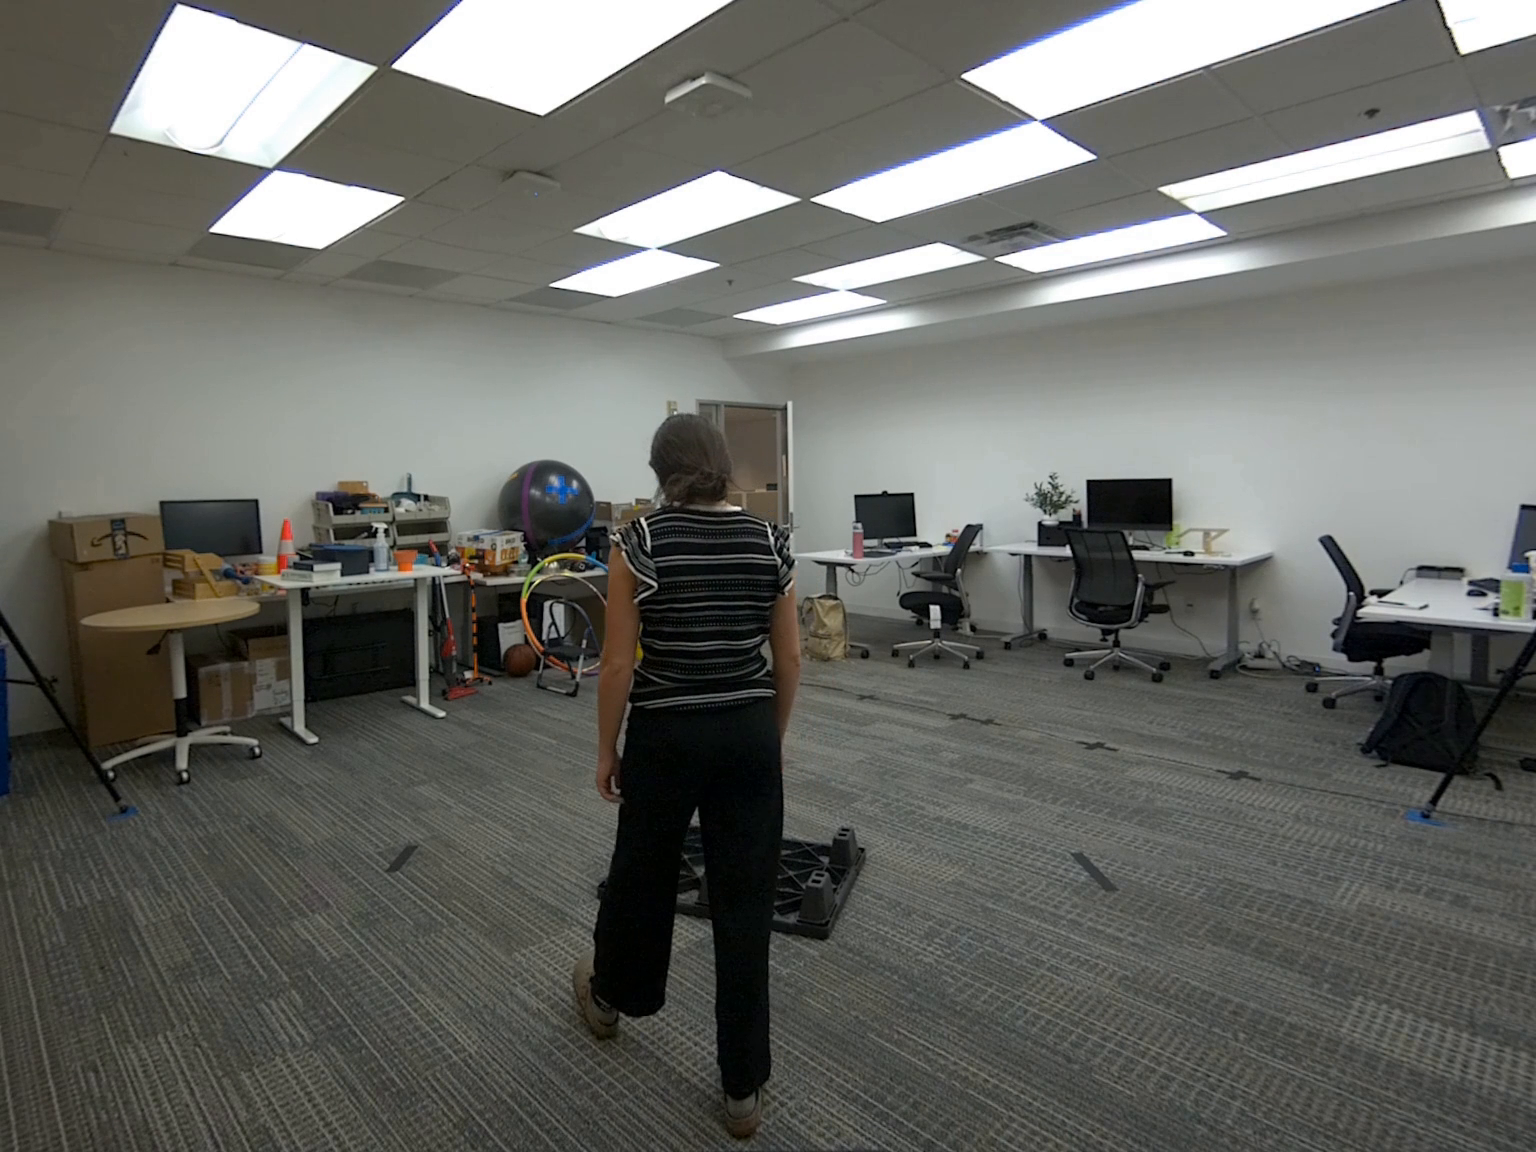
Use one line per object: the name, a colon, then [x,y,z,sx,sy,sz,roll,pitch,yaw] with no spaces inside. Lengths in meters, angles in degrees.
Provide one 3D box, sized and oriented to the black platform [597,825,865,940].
black platform: [-0.108,0.995,2.989,0.821,0.143,0.596,1,6,20]
